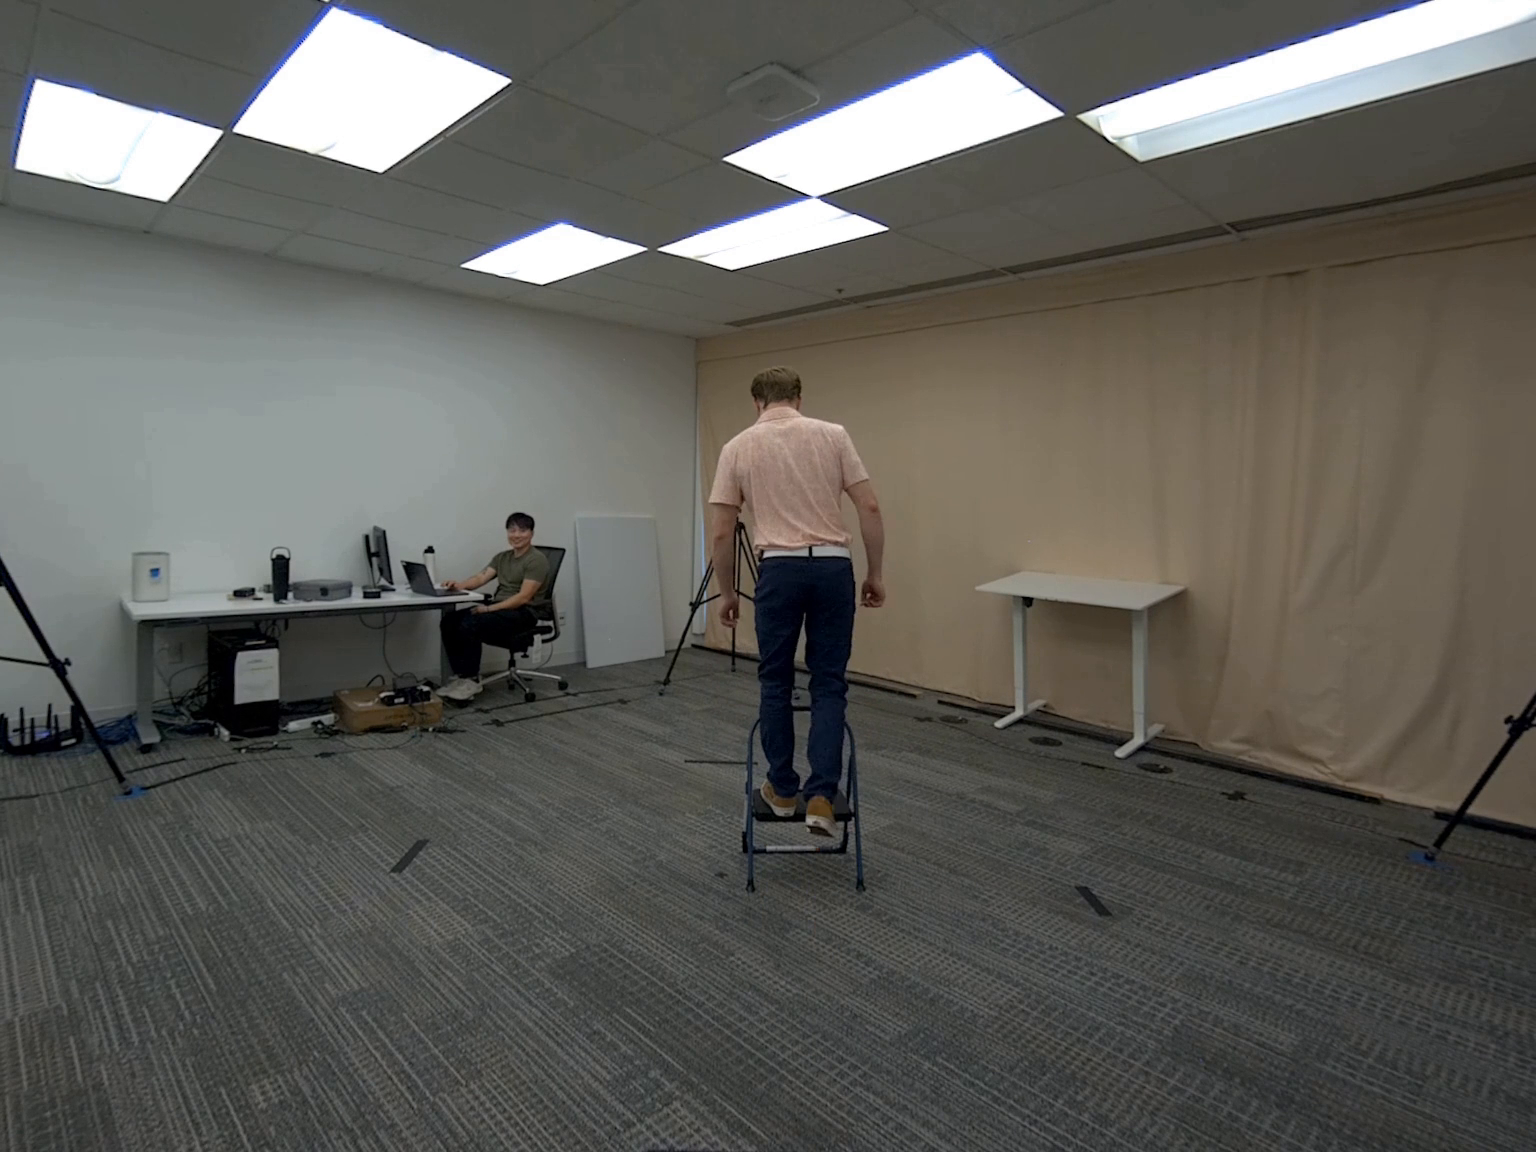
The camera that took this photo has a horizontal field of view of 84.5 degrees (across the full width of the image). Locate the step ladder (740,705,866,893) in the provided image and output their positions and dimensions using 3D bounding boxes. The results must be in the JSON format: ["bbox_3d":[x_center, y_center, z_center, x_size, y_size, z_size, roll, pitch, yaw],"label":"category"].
[{"bbox_3d":[0.122,0.807,3.149,0.429,0.604,0.351,1,4,-5],"label":"step ladder"}]
